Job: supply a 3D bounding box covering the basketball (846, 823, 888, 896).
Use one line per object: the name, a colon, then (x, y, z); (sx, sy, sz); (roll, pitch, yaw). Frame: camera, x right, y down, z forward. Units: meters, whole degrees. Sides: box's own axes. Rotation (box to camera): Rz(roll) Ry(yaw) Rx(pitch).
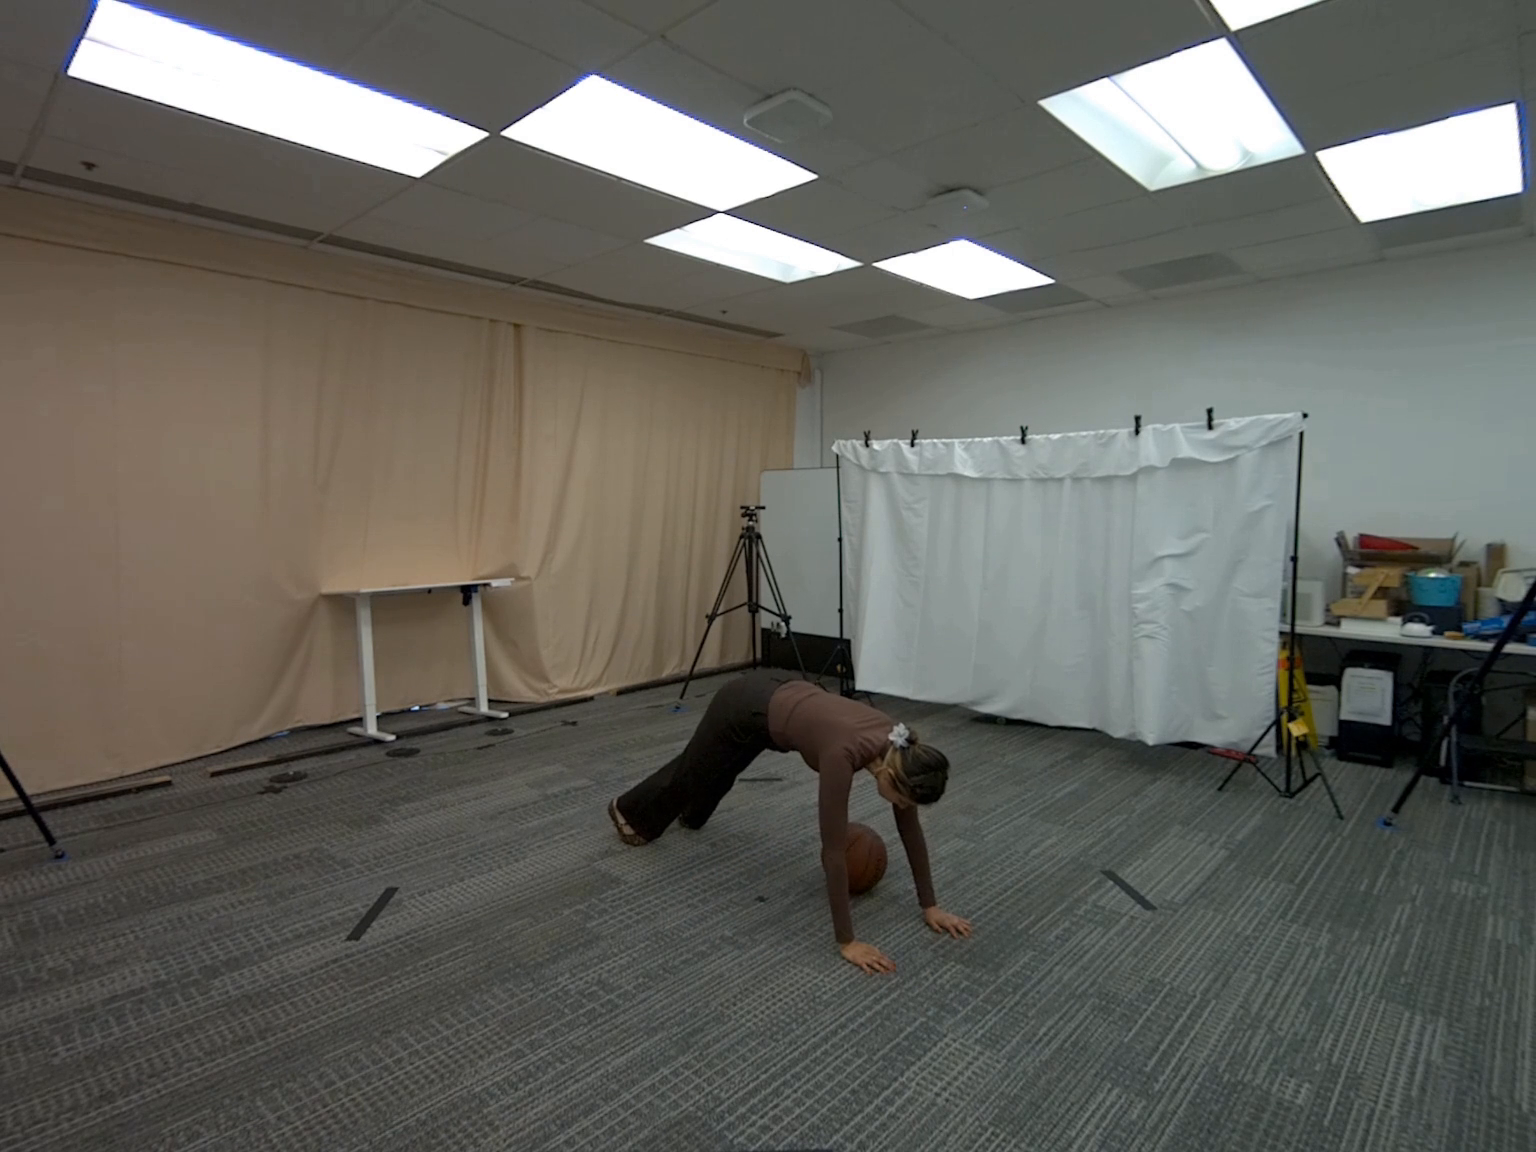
basketball: (0.314, 1.016, 3.048); (0.236, 0.235, 0.237); (0, 4, -2)
